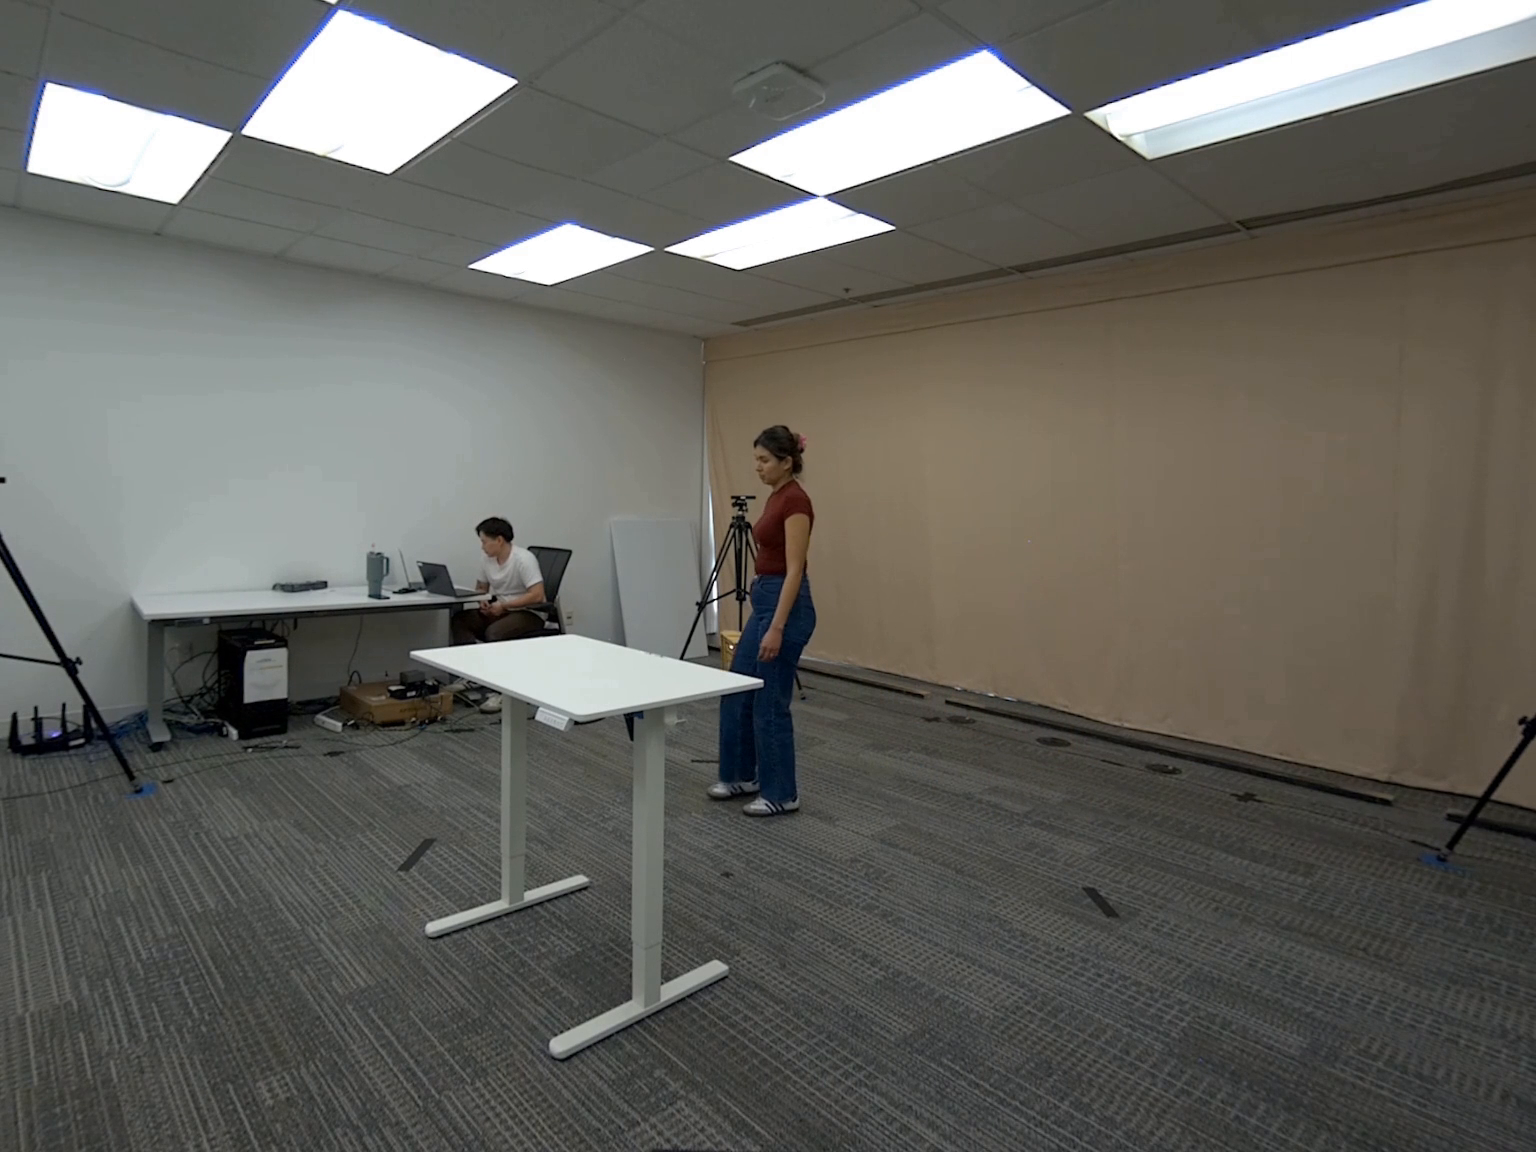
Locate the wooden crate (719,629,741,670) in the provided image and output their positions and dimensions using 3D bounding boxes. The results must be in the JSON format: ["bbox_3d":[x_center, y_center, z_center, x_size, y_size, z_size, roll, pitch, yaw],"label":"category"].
[{"bbox_3d":[-0.063,0.437,4.099,0.270,0.322,0.308,-6,11,-17],"label":"wooden crate"}]
